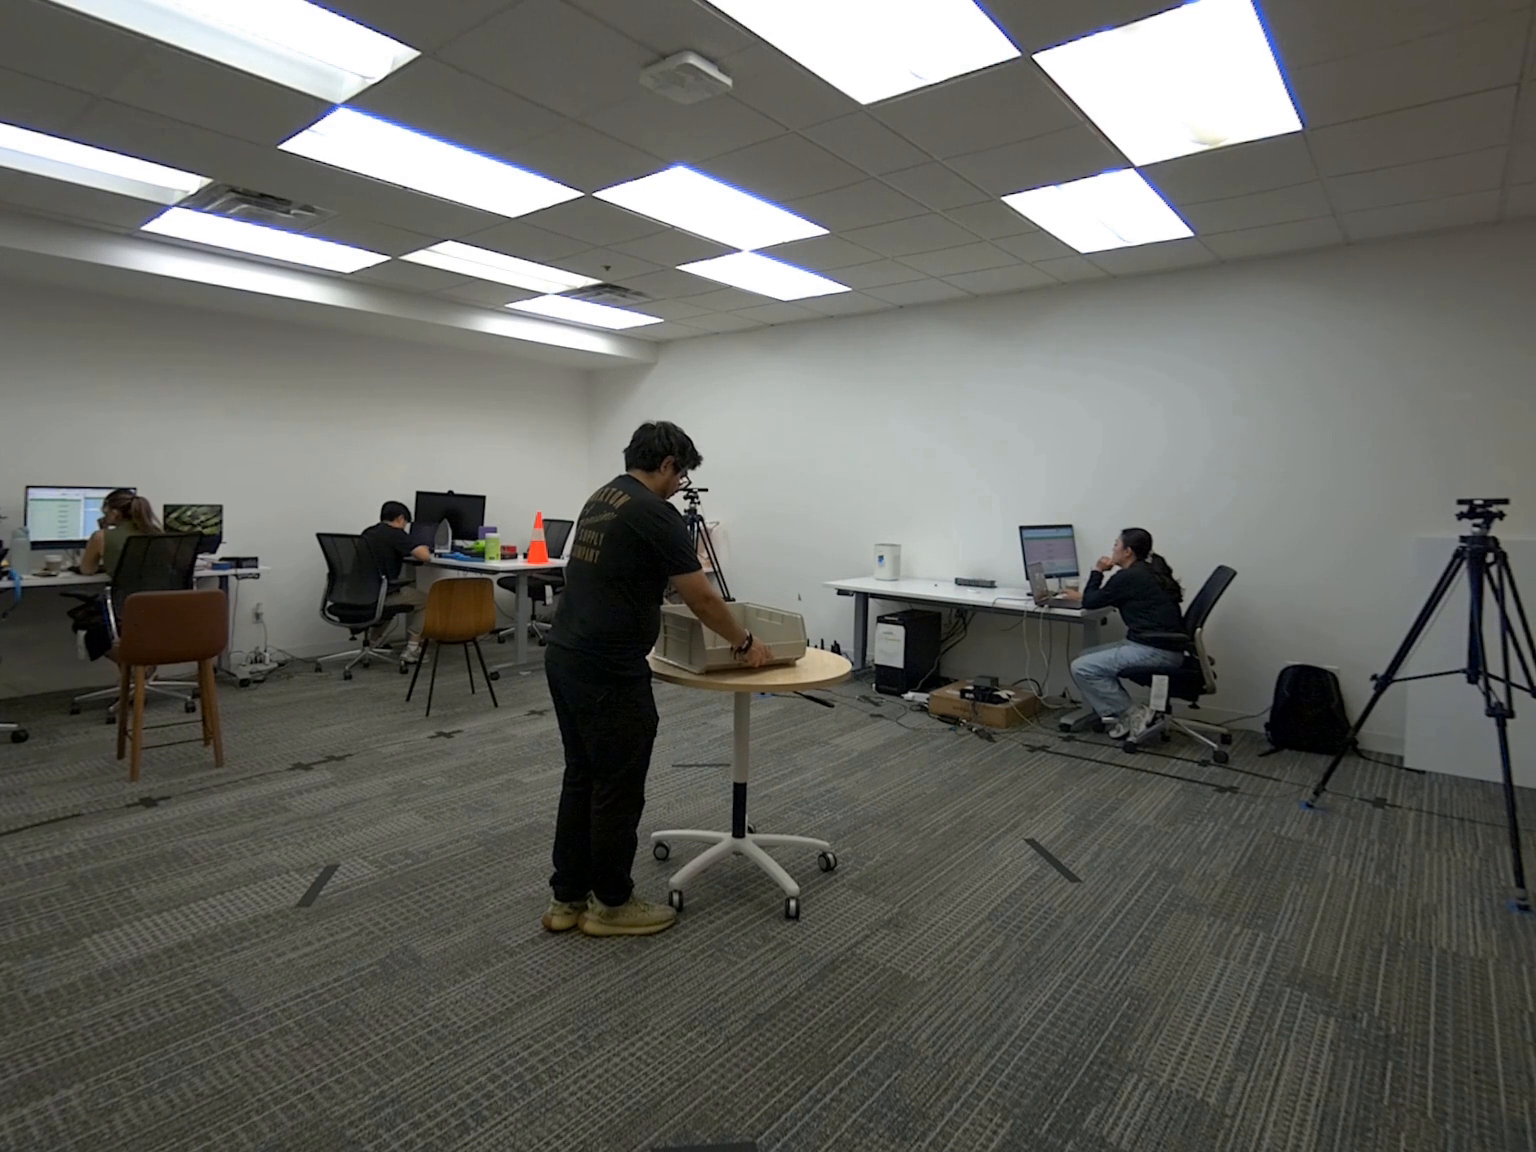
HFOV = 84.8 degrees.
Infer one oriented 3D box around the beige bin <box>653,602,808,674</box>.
[{"bbox_3d":[-0.144,0.202,2.979,0.410,0.188,0.389,-2,5,-35],"label":"beige bin"}]
